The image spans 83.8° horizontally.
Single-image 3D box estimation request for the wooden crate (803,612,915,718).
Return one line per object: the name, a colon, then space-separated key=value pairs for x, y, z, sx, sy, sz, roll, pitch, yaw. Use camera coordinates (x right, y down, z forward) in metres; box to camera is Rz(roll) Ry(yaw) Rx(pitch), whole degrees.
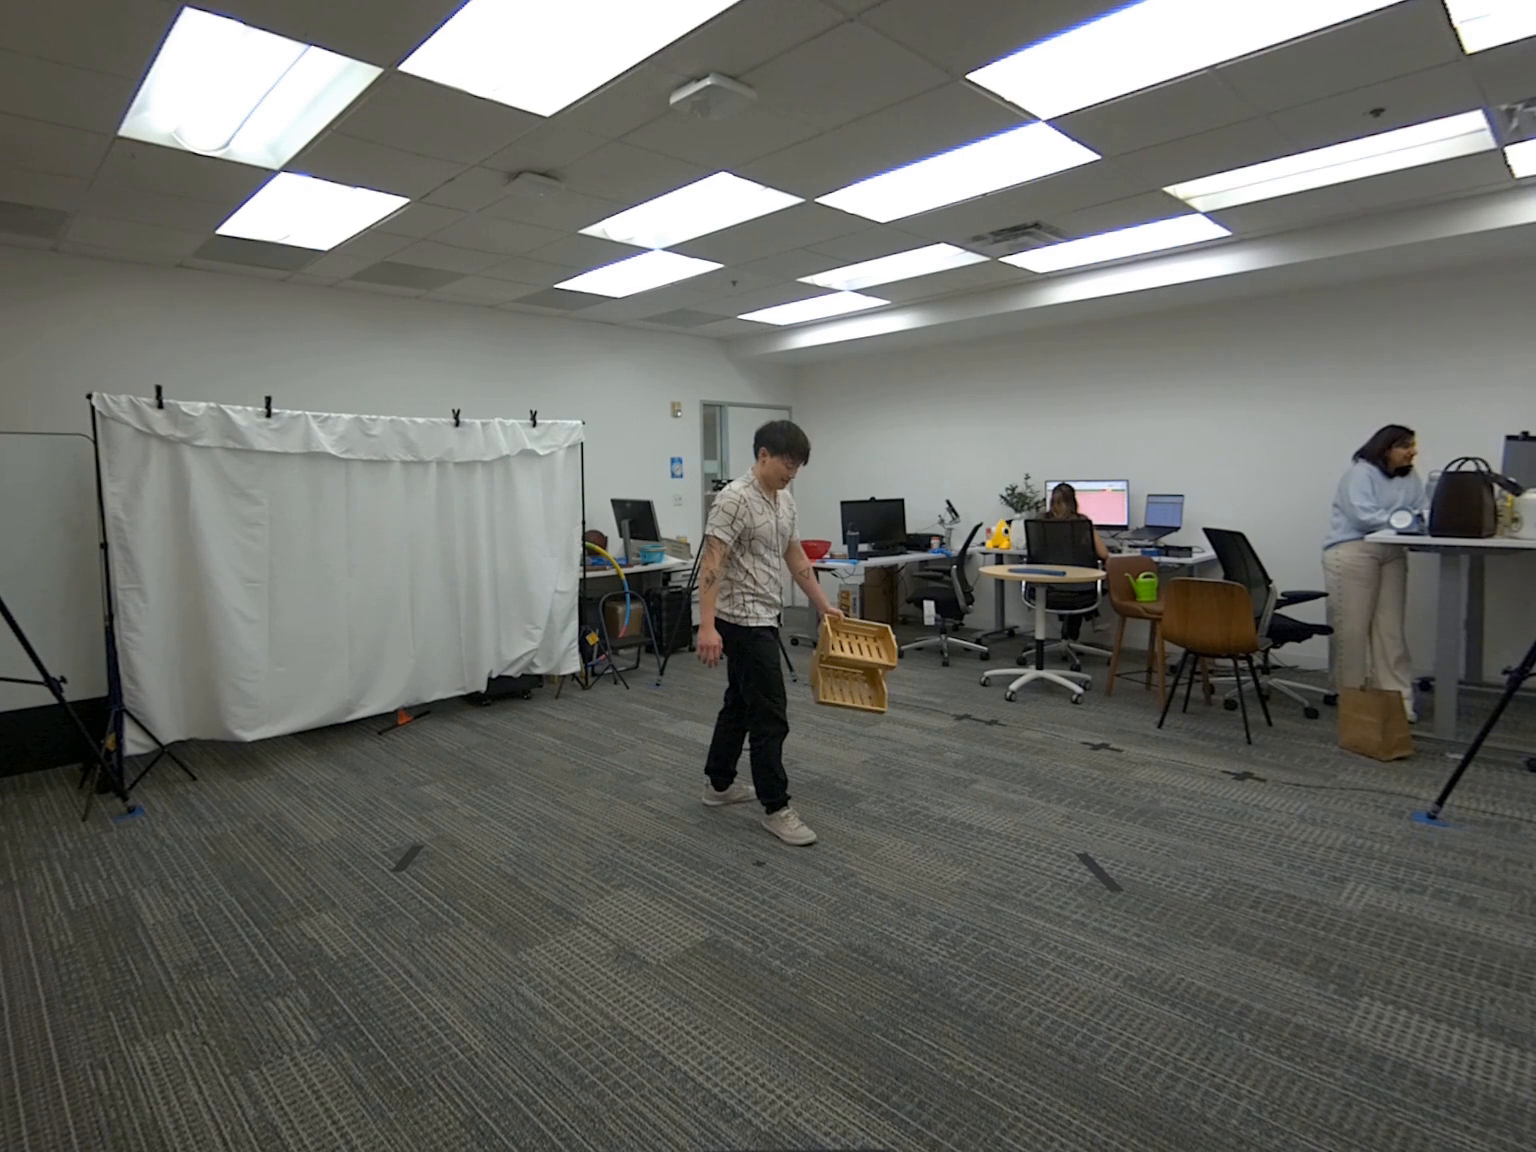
wooden crate: x=0.370 y=0.364 z=3.596 sx=0.319 sy=0.269 sz=0.311 roll=10 pitch=34 yaw=-16
